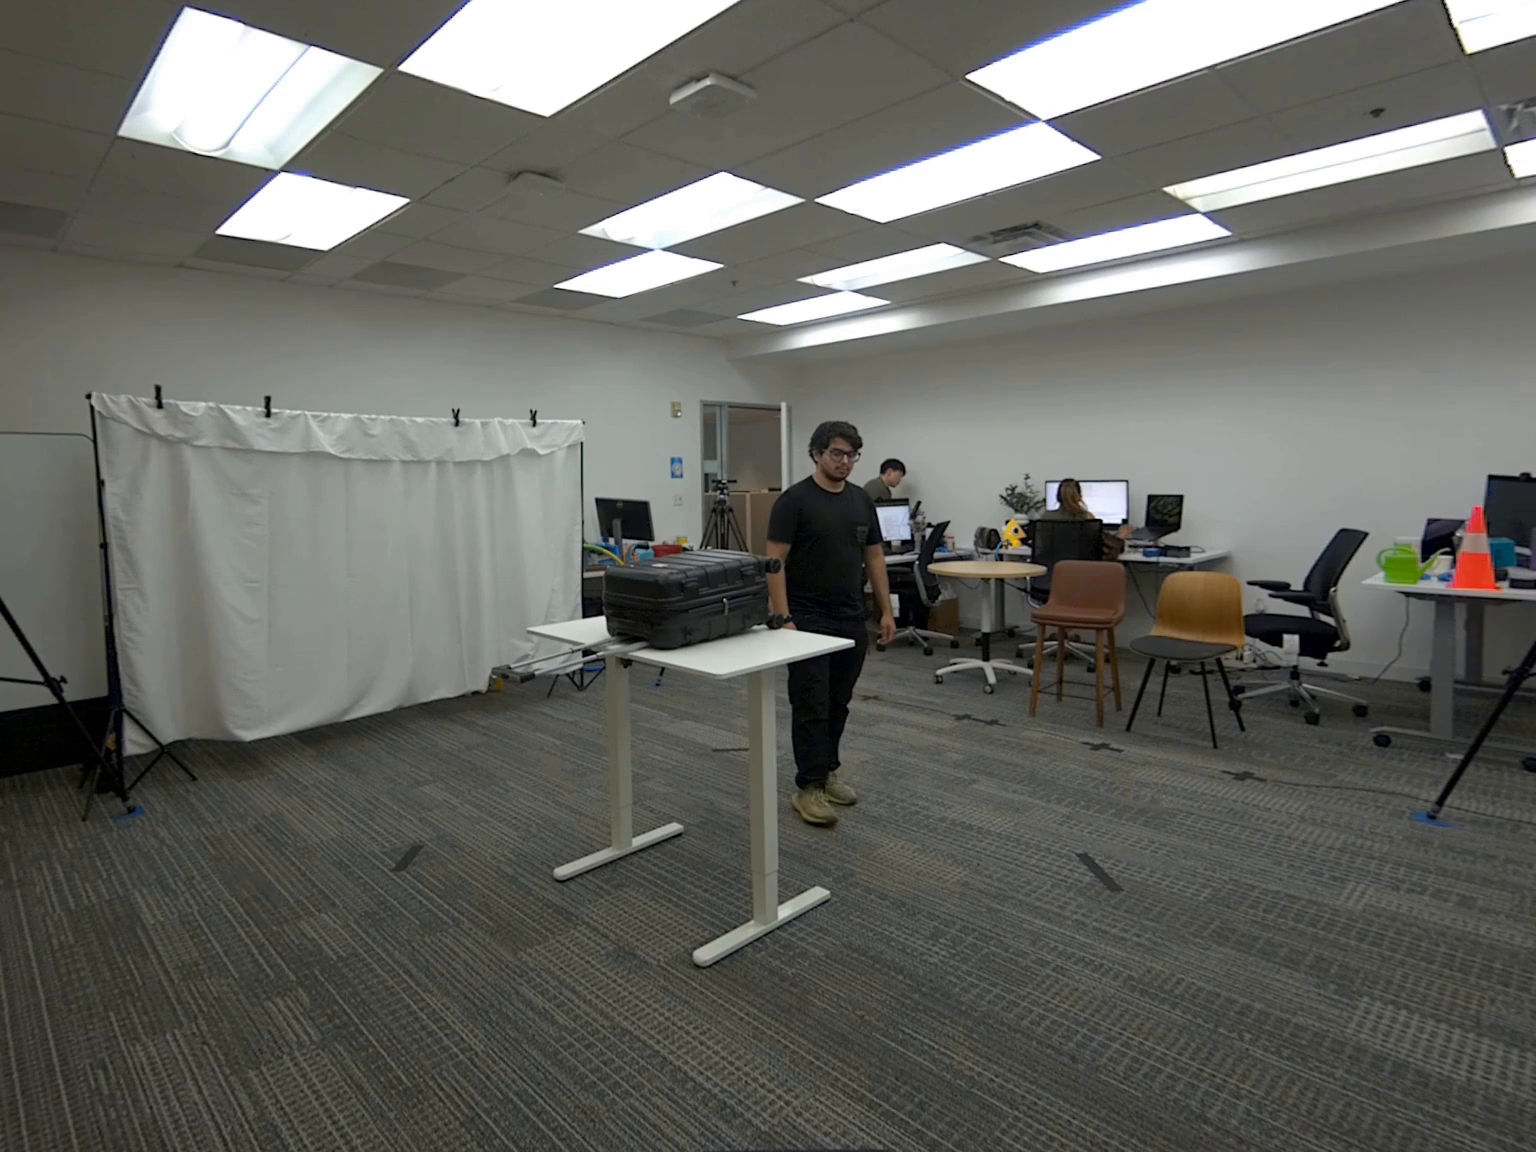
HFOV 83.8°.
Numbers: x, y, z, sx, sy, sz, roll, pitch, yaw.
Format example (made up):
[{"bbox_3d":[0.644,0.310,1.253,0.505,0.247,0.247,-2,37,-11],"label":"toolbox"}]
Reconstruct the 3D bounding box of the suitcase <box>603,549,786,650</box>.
[{"bbox_3d":[-0.402,0.098,2.726,0.954,0.255,0.396,-9,11,-44],"label":"suitcase"}]
